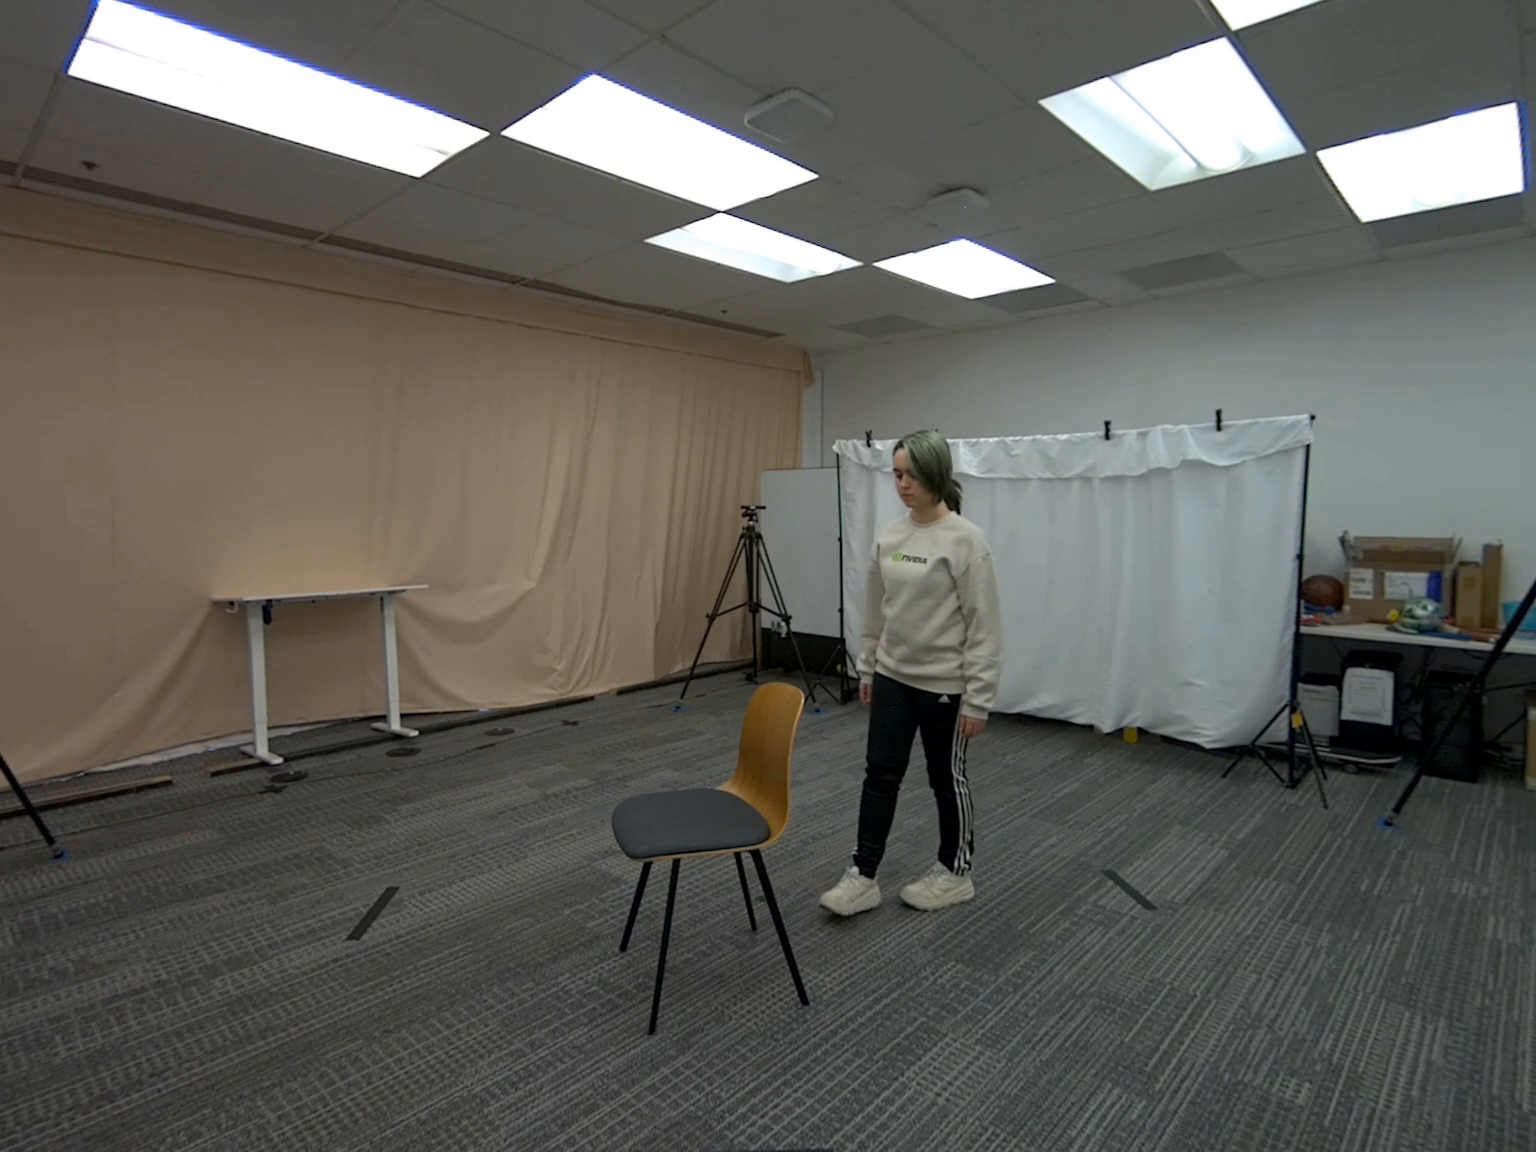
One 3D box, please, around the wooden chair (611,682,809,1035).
[{"bbox_3d":[-0.181,0.764,2.466,0.513,0.876,0.488,3,2,-19],"label":"wooden chair"}]
